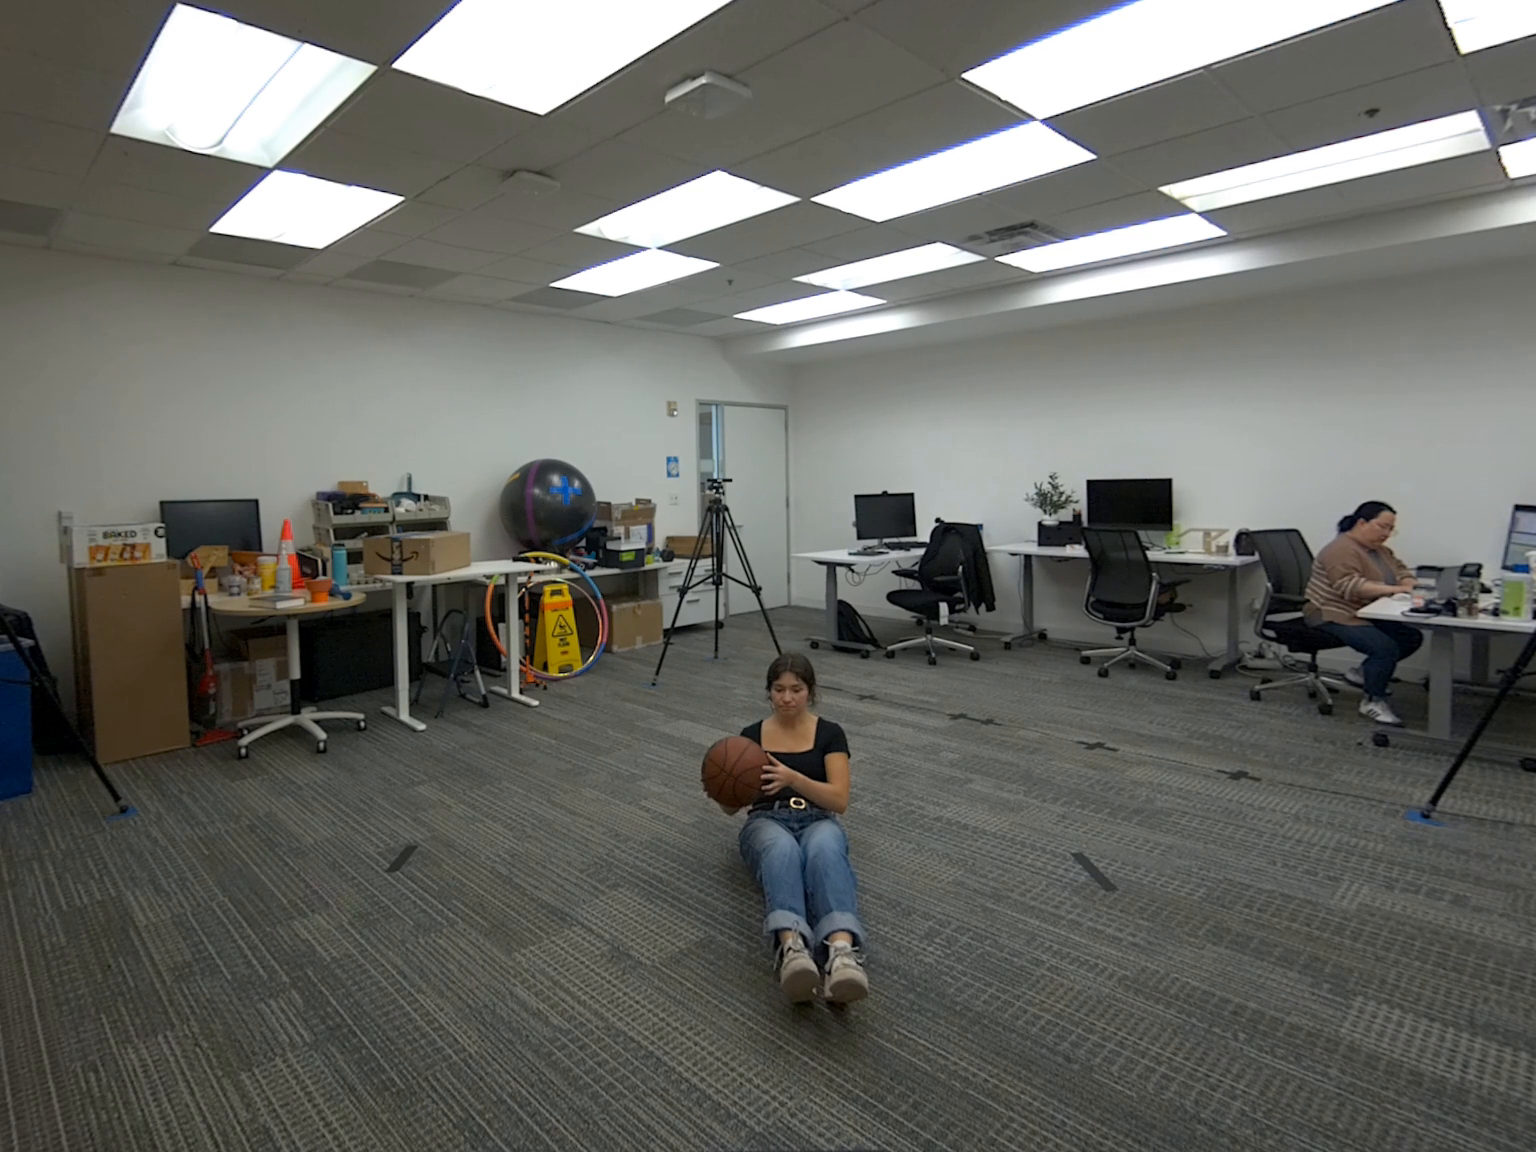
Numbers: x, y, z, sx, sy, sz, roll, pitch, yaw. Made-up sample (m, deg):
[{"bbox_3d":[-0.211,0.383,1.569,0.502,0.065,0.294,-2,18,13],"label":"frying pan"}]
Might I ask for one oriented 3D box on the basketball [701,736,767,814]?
[{"bbox_3d":[-0.110,0.676,2.936,0.236,0.235,0.237,-1,5,-2],"label":"basketball"}]
